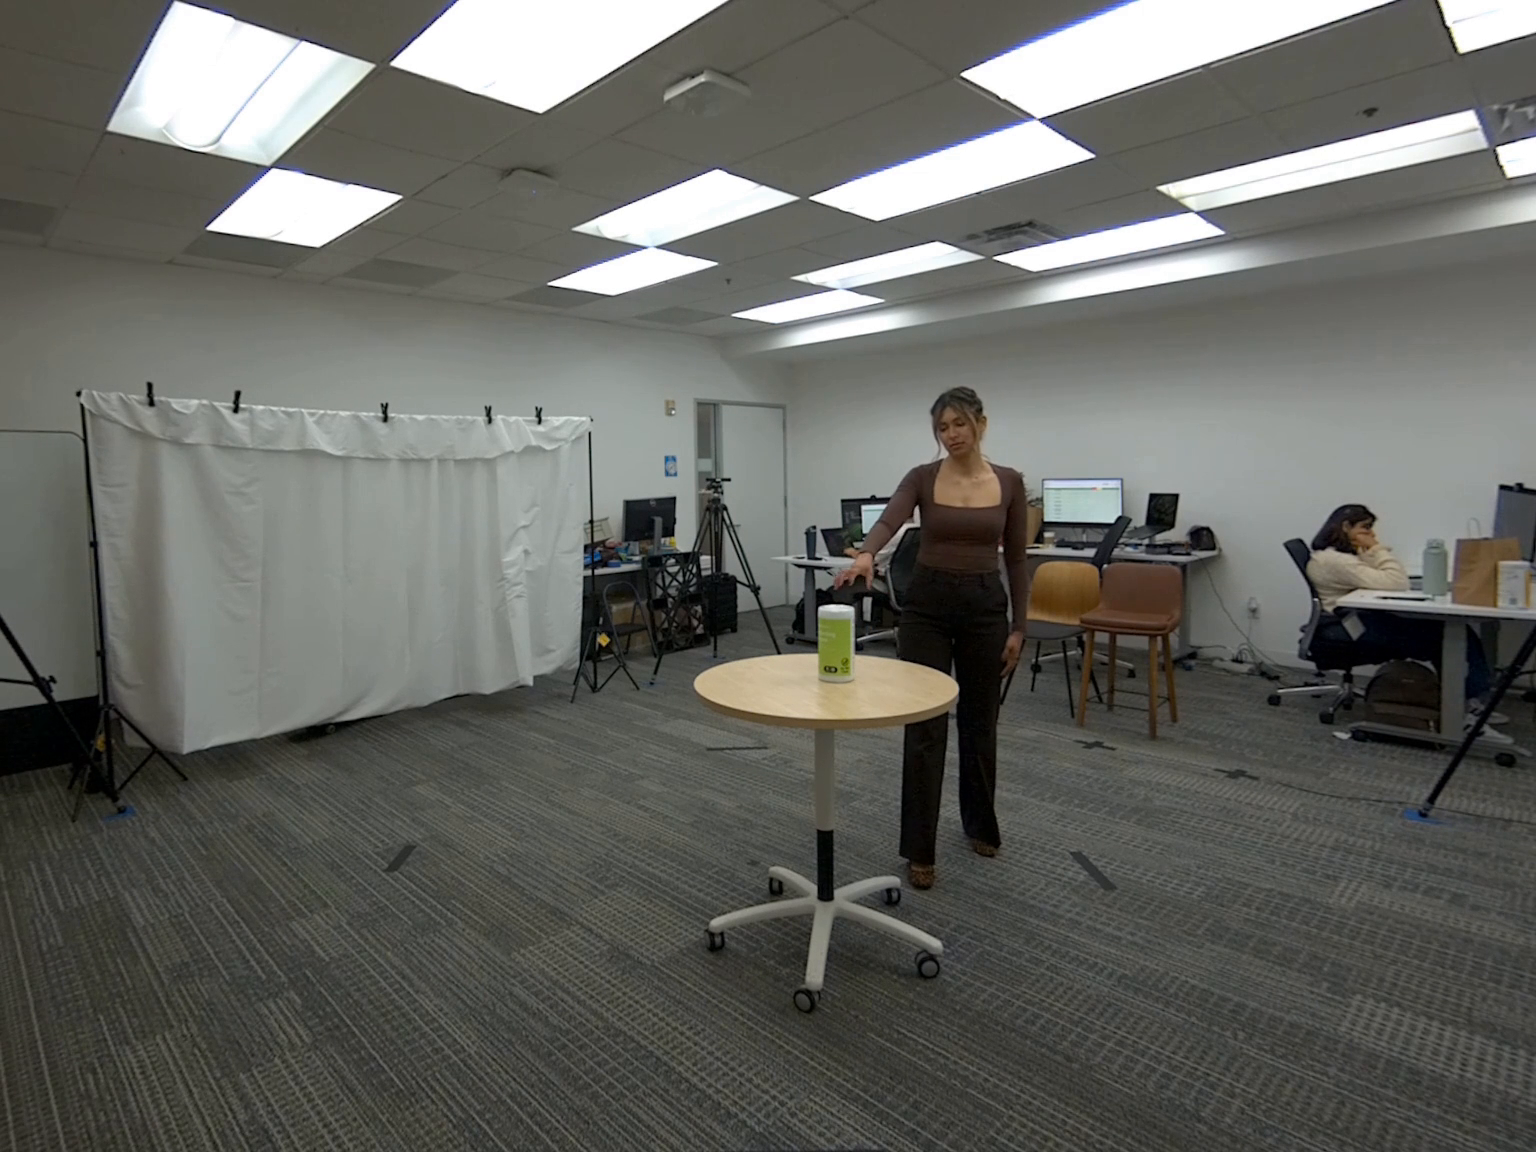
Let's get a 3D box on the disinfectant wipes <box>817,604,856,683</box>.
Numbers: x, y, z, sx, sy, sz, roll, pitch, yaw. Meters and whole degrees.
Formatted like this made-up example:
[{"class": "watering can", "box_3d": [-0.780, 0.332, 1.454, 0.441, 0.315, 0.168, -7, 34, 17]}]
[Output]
[{"class": "disinfectant wipes", "box_3d": [0.209, 0.202, 2.532, 0.118, 0.216, 0.118, -2, 4, -1]}]
